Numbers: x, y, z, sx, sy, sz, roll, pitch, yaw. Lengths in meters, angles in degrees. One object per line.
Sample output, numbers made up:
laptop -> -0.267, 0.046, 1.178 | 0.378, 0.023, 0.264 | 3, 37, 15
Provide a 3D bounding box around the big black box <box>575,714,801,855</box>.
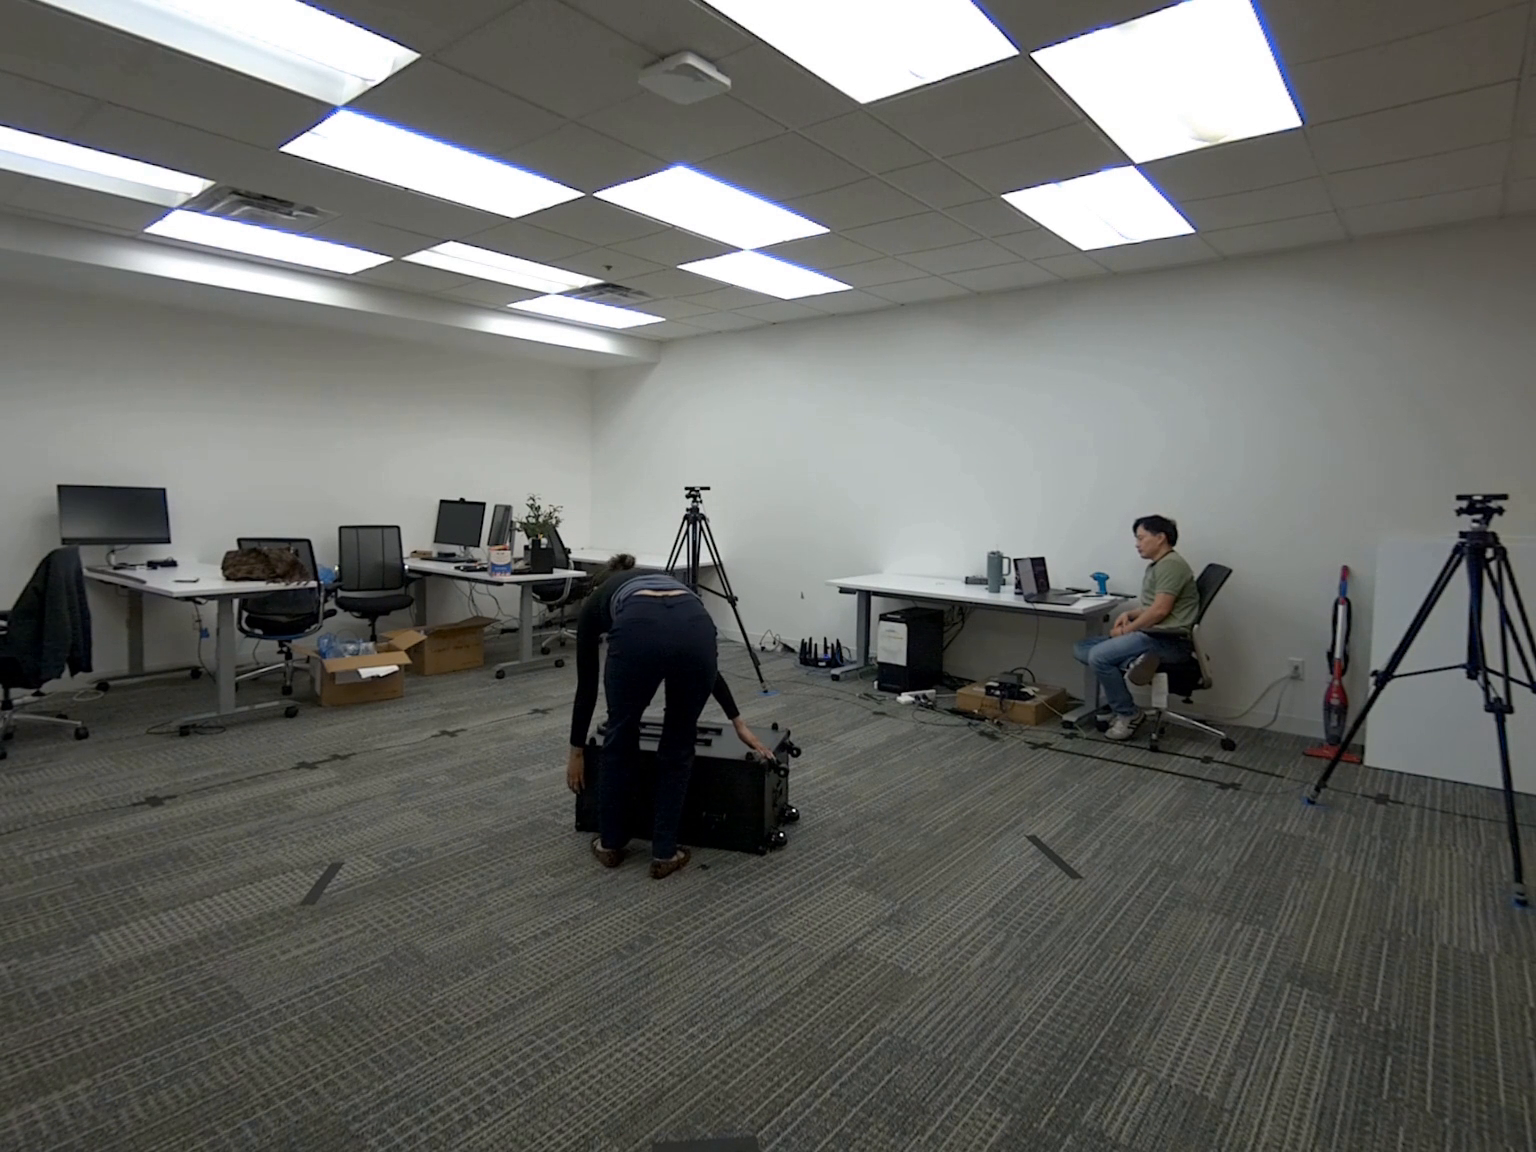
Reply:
big black box -> -0.312, 0.827, 3.537 | 0.876, 0.395, 0.515 | 4, 5, 14
